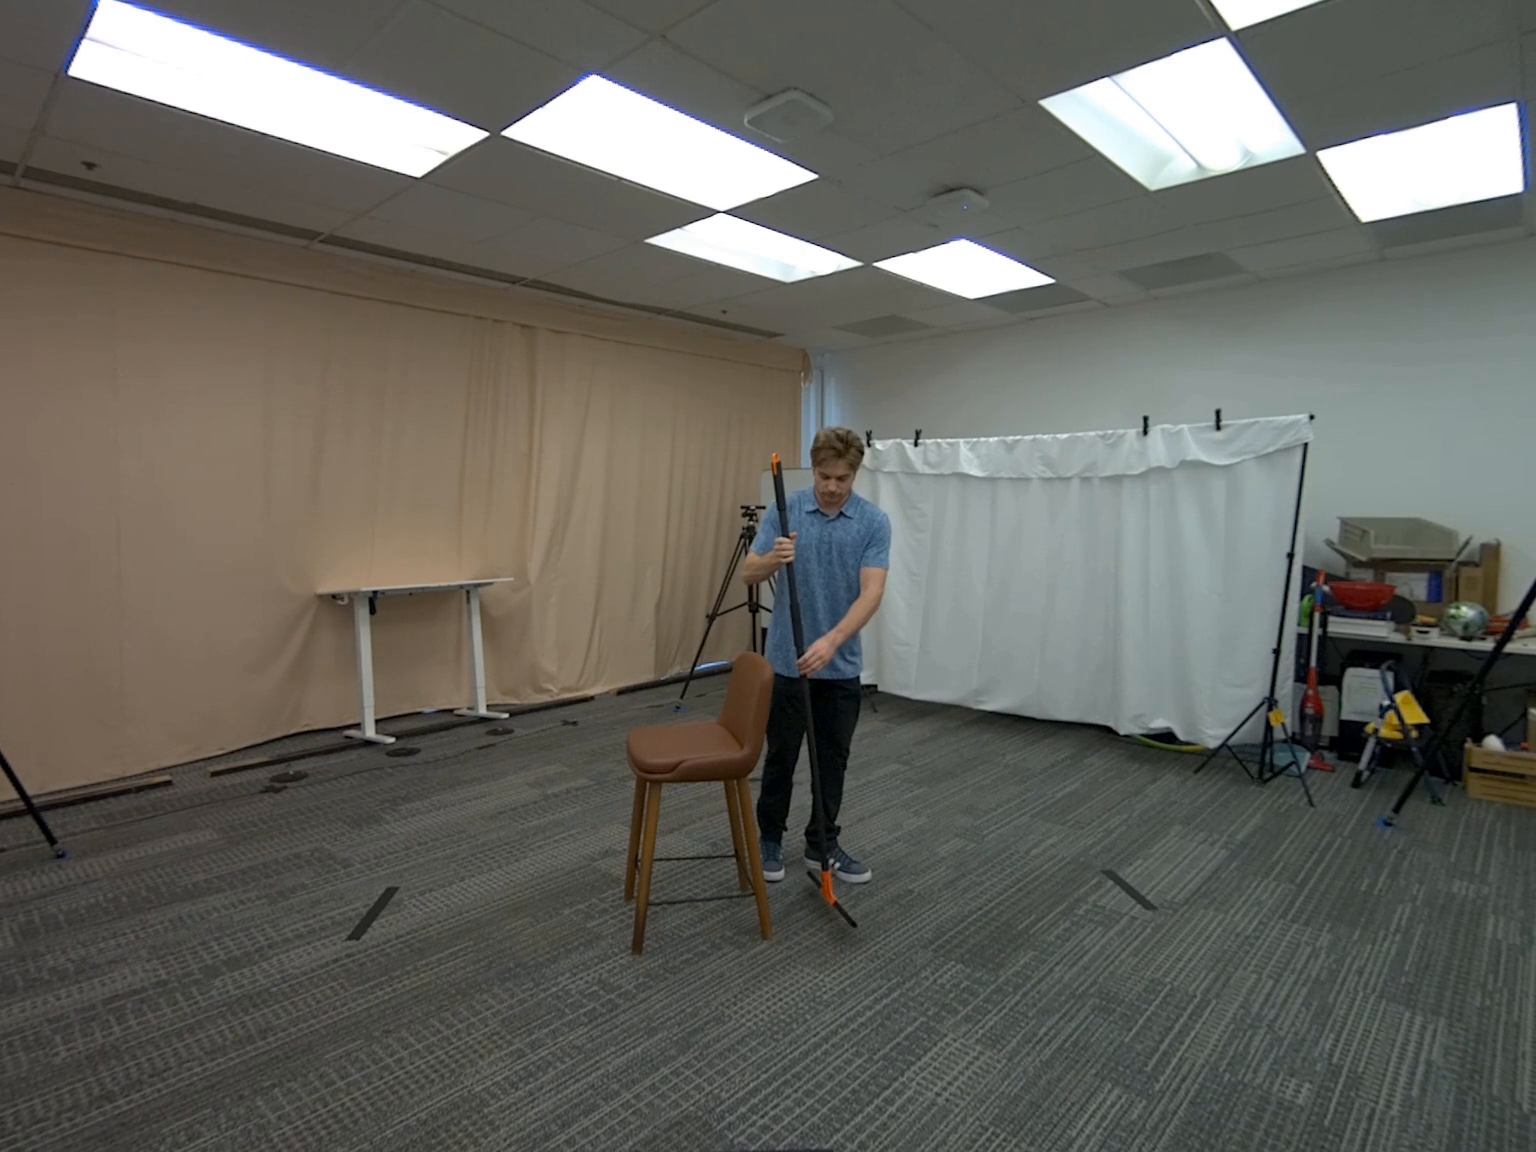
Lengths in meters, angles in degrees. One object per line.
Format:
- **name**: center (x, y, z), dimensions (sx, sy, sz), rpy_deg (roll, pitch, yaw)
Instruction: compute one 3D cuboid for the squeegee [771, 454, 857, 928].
- **squeegee**: center (0.134, 0.363, 2.848), dimensions (0.052, 1.537, 0.445), rpy_deg (-4, 1, -17)
